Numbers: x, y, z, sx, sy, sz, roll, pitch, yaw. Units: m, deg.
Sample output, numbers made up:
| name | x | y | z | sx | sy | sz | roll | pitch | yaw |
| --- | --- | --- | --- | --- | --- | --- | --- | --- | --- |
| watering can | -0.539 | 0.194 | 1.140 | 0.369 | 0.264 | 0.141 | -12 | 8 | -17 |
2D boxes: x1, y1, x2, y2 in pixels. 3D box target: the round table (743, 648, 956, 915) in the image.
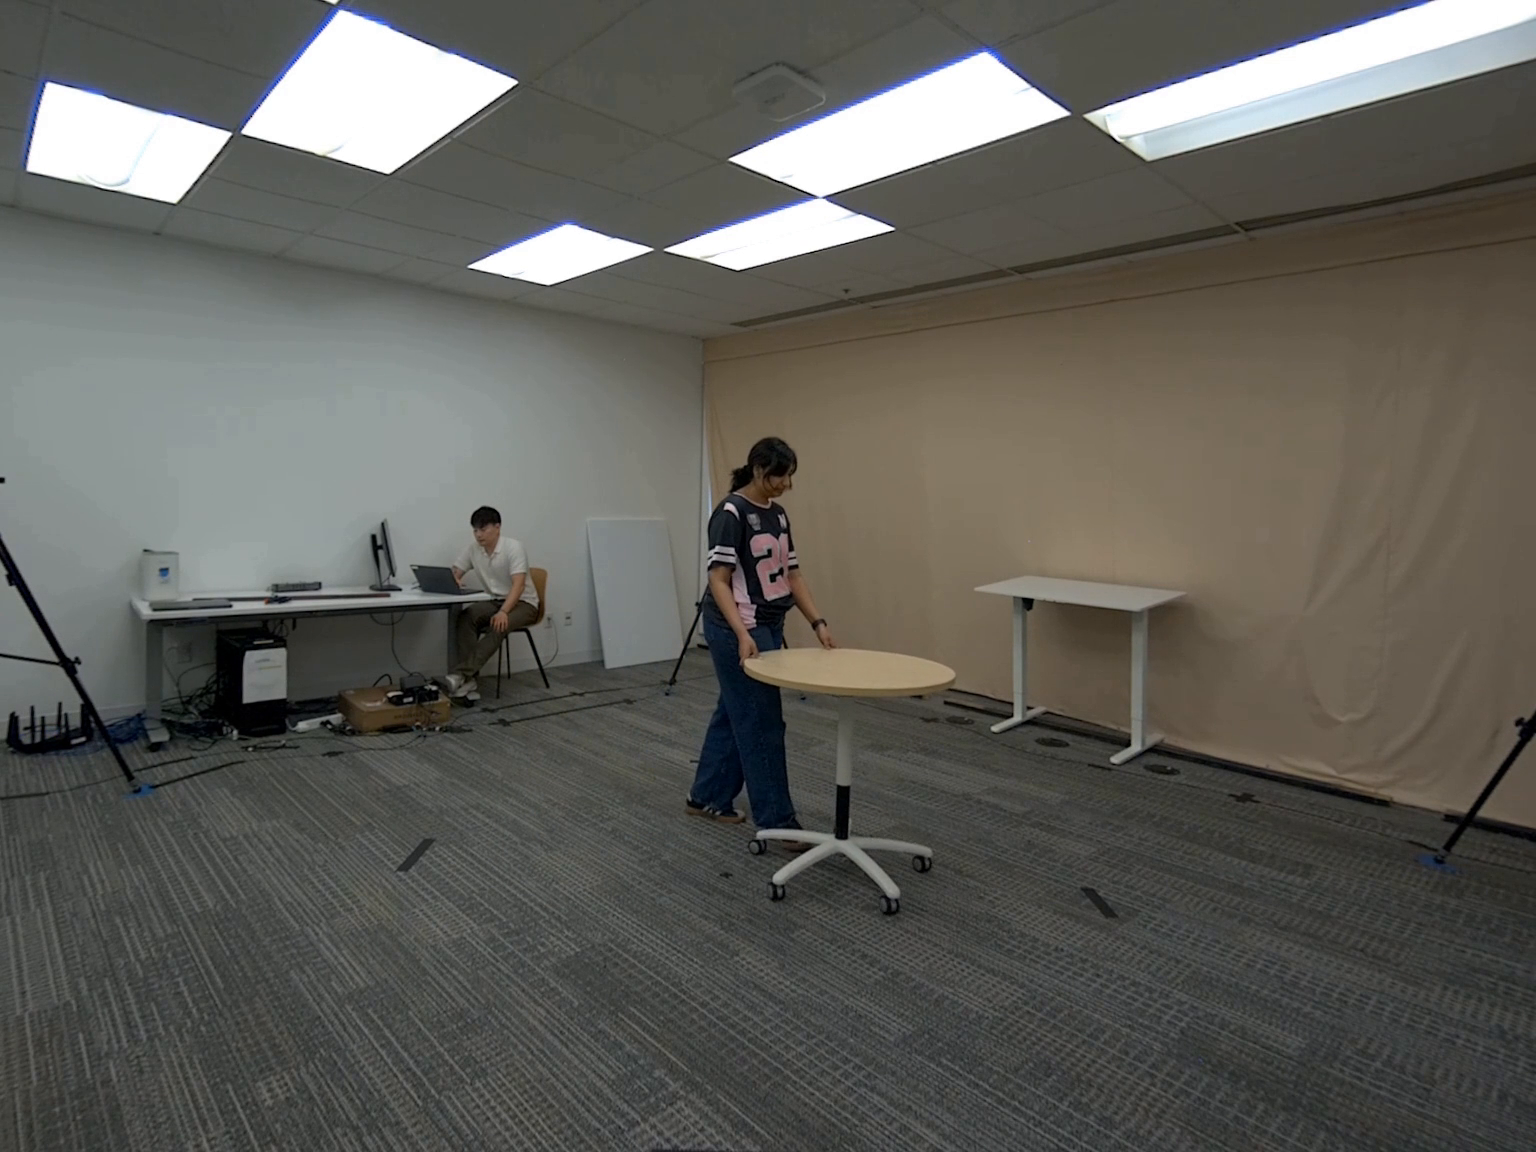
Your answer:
| name | x | y | z | sx | sy | sz | roll | pitch | yaw |
| --- | --- | --- | --- | --- | --- | --- | --- | --- | --- |
| round table | 0.272 | 0.725 | 3.107 | 0.763 | 0.792 | 0.766 | 2 | 4 | -1 |
